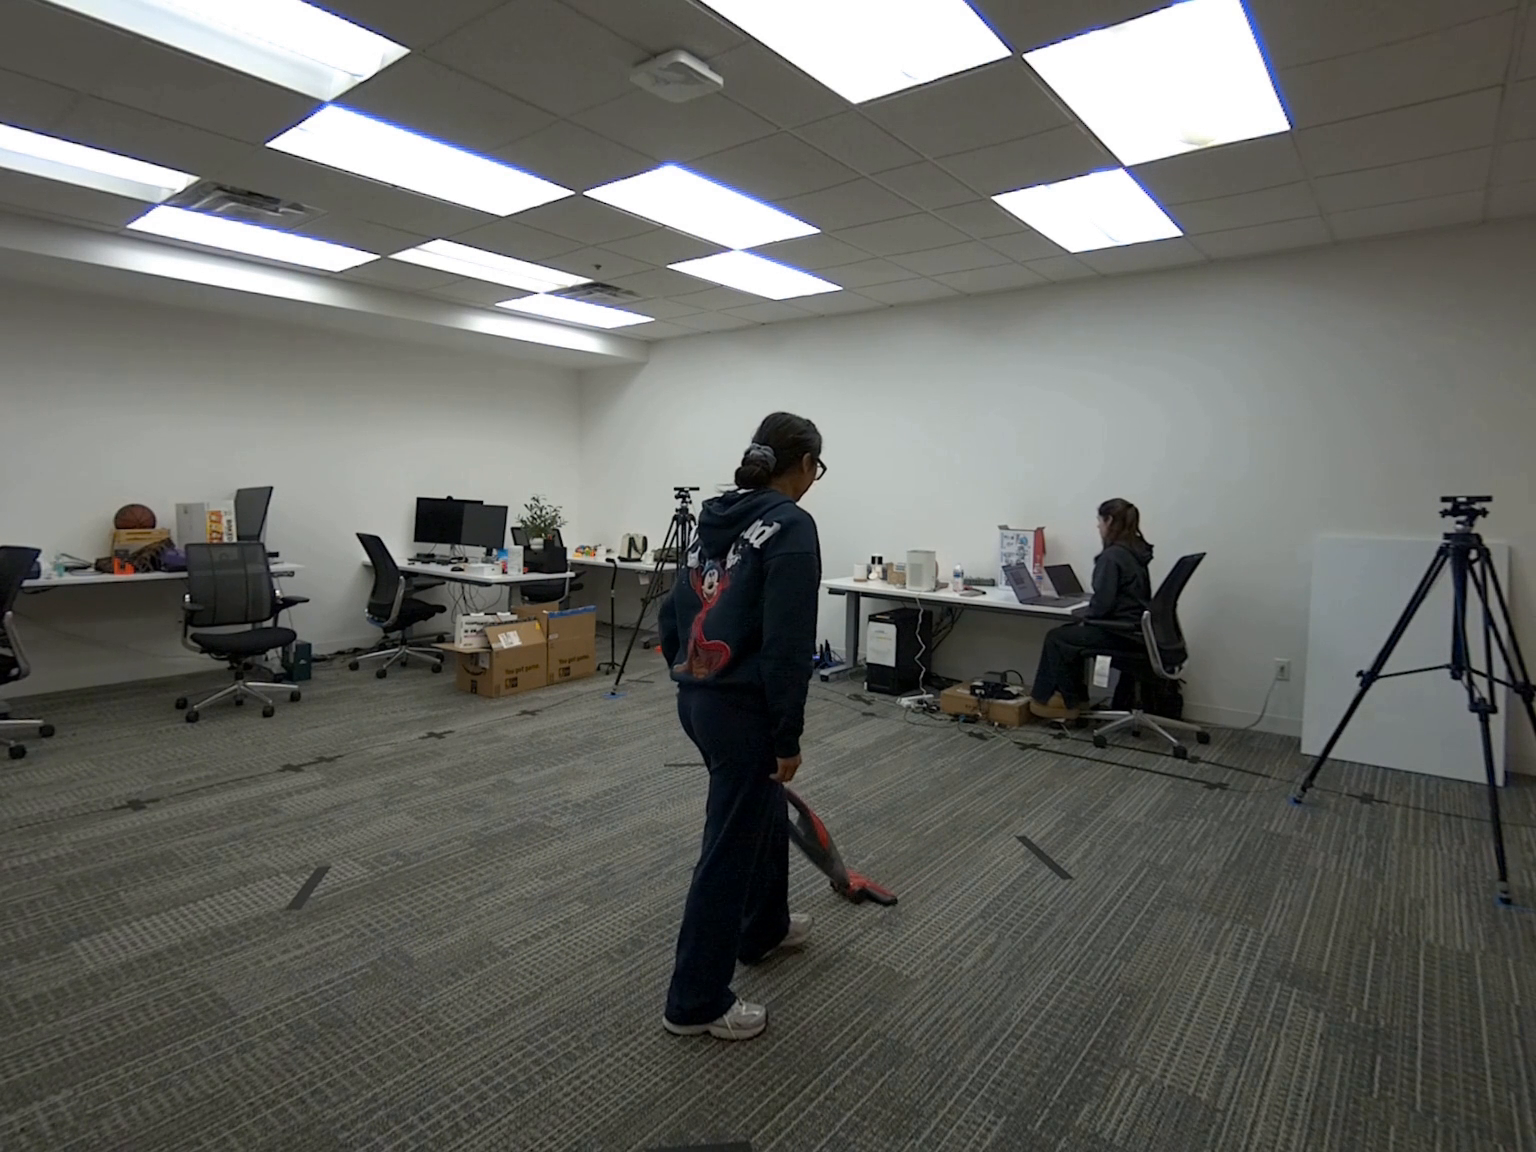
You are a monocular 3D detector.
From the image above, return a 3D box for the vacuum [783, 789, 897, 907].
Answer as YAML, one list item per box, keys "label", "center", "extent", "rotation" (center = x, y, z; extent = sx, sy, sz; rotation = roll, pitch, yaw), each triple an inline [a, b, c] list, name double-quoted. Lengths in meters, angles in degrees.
- label: "vacuum"
  center: [0.049, 0.725, 2.754]
  extent: [0.144, 1.017, 0.260]
  rotation: [-49, 27, -24]
